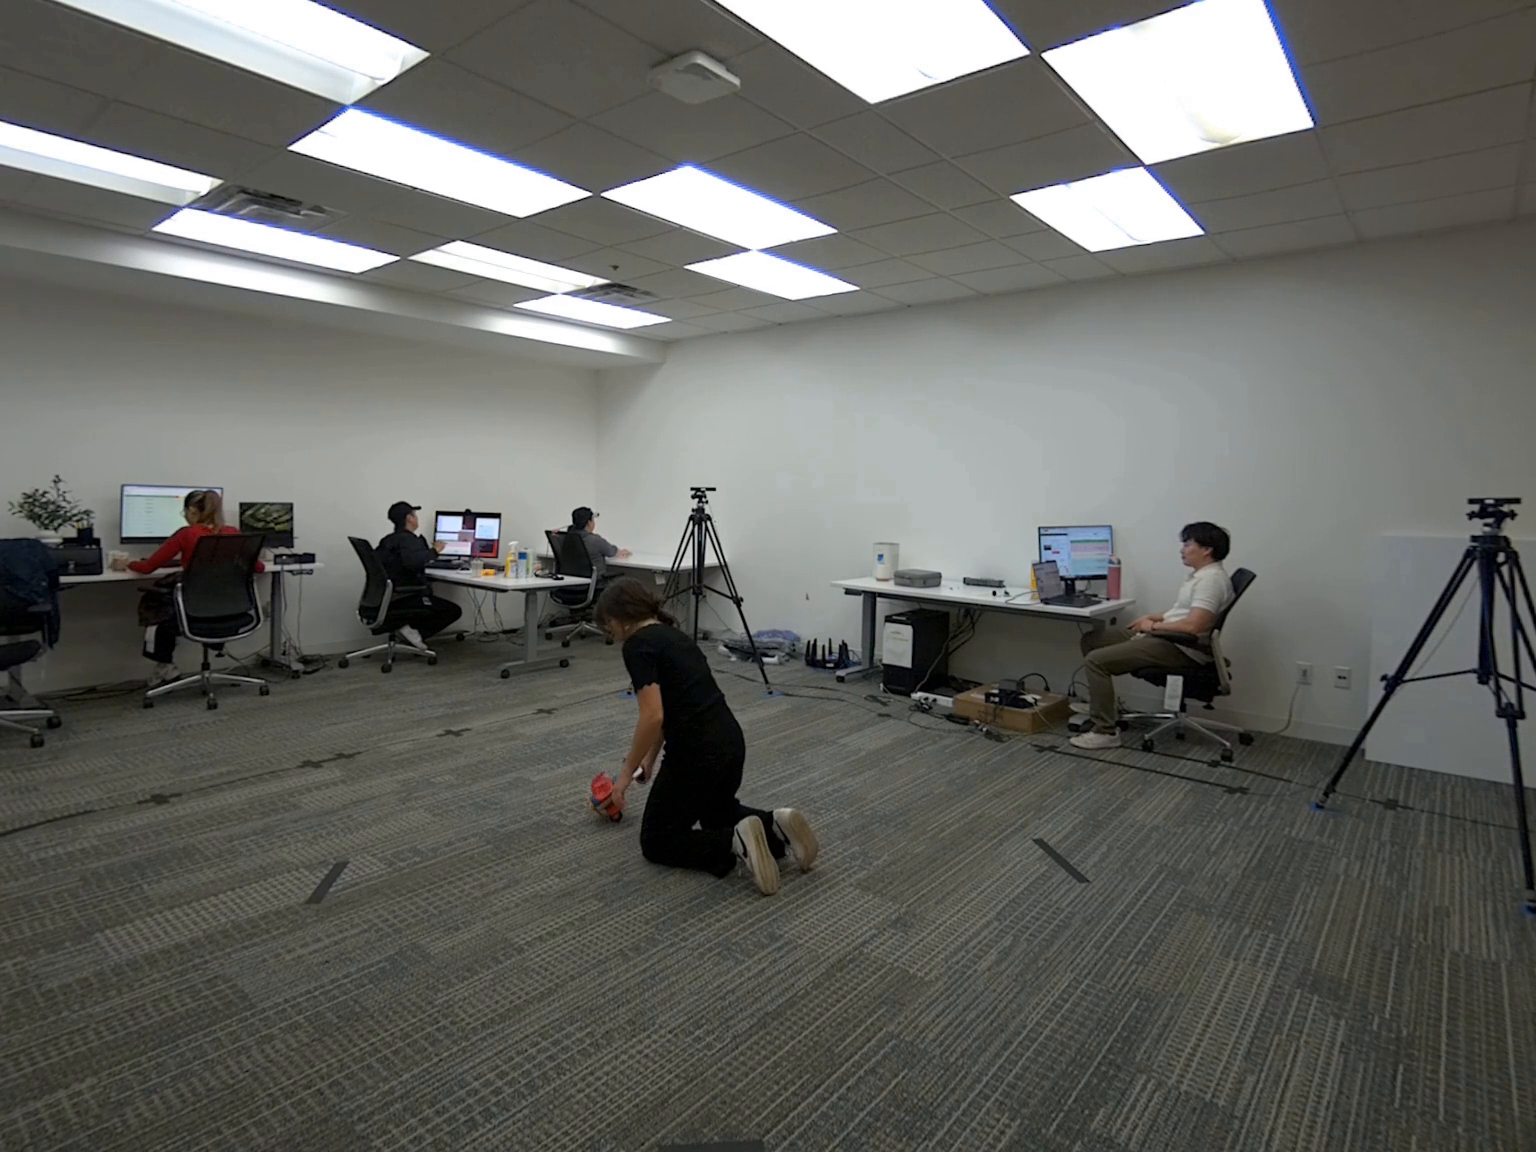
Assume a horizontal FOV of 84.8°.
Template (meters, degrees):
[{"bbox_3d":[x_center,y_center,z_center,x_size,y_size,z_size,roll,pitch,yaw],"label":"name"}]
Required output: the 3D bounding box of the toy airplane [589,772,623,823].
[{"bbox_3d":[-0.658,0.894,3.593,0.153,0.262,0.254,38,-36,-19],"label":"toy airplane"}]
